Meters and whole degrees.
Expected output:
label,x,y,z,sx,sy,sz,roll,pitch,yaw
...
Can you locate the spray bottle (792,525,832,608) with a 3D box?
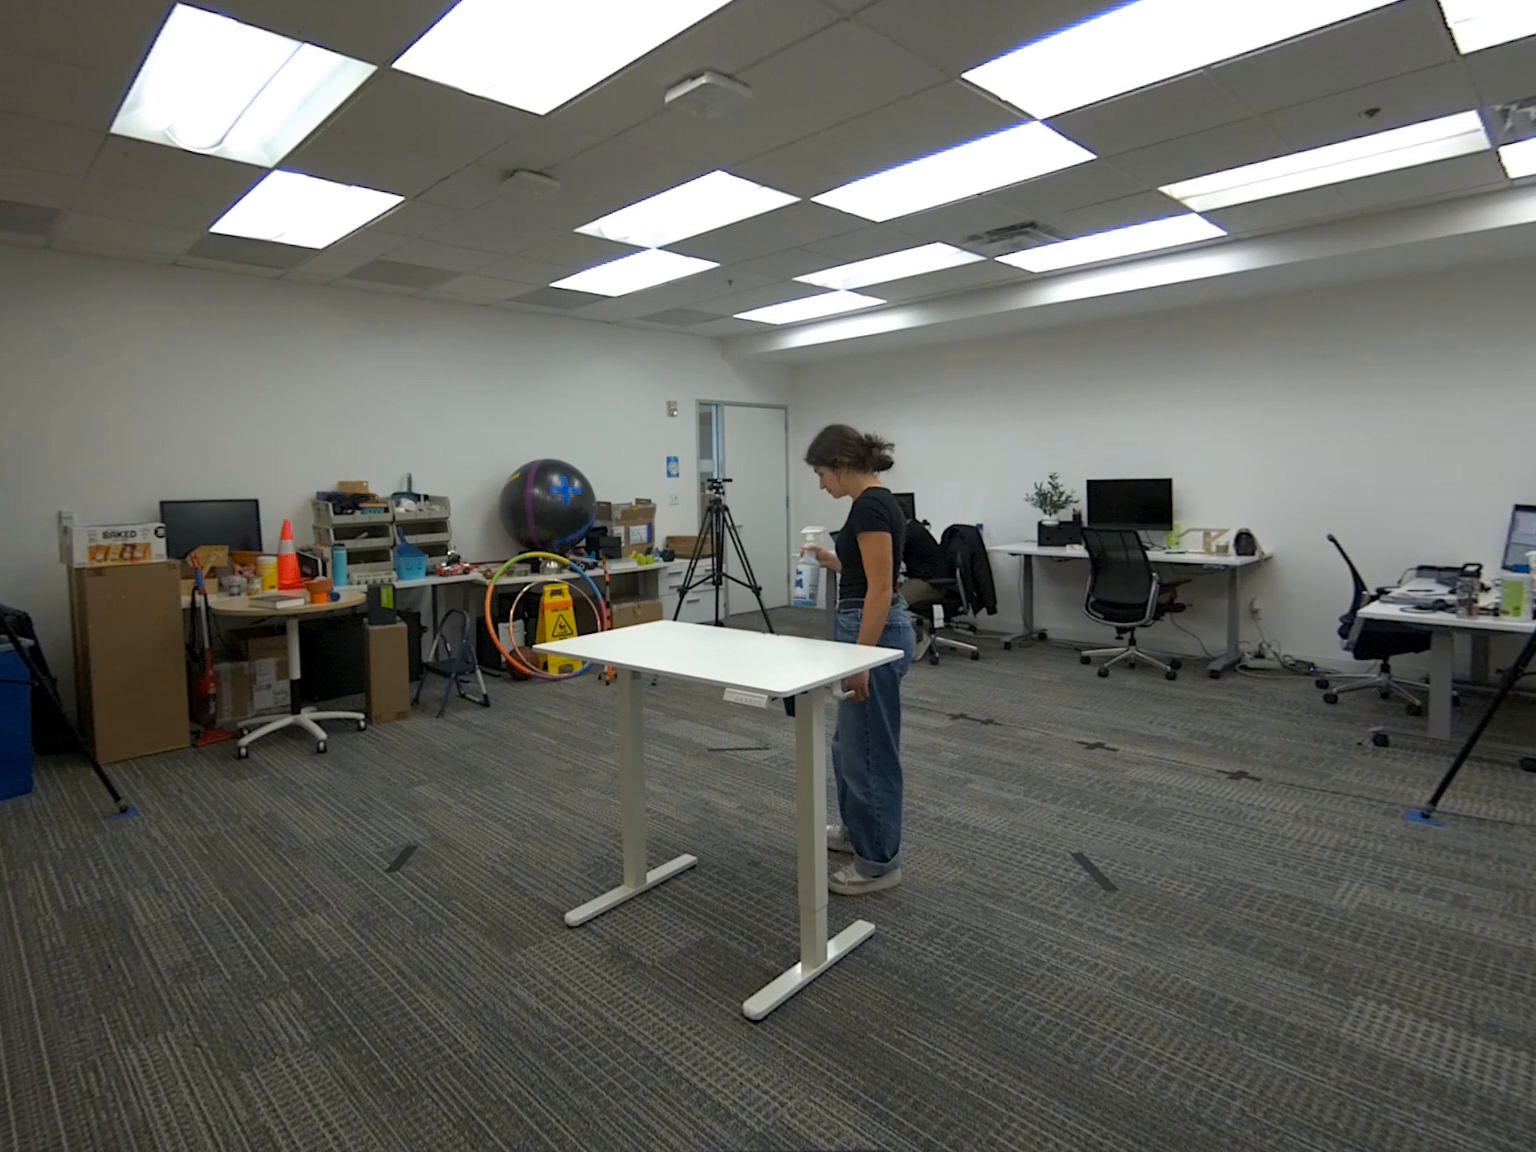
label,x,y,z,sx,sy,sz,roll,pitch,yaw
spray bottle,0.158,-0.037,3.140,0.092,0.299,0.084,1,-8,32
